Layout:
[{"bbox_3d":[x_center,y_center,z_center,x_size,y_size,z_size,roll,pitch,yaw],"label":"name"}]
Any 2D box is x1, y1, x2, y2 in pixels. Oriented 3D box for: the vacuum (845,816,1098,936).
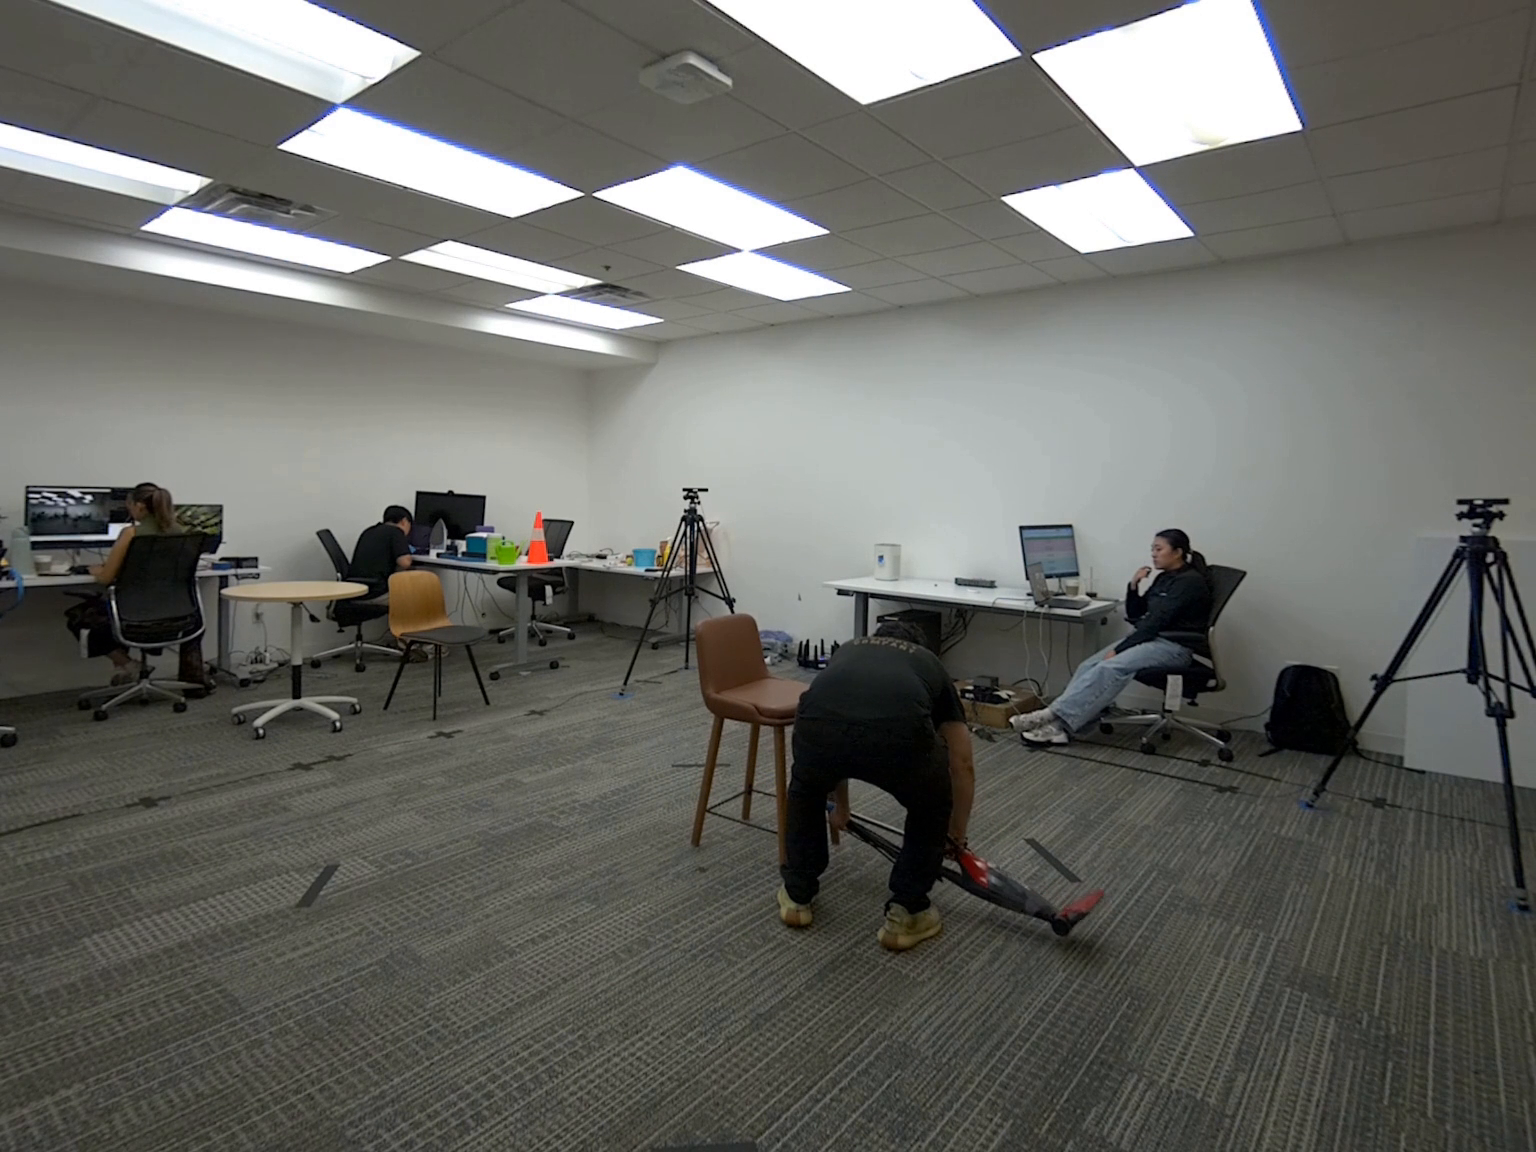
[{"bbox_3d":[0.530,0.978,2.939,1.085,0.144,0.244,9,0,35],"label":"vacuum"}]
